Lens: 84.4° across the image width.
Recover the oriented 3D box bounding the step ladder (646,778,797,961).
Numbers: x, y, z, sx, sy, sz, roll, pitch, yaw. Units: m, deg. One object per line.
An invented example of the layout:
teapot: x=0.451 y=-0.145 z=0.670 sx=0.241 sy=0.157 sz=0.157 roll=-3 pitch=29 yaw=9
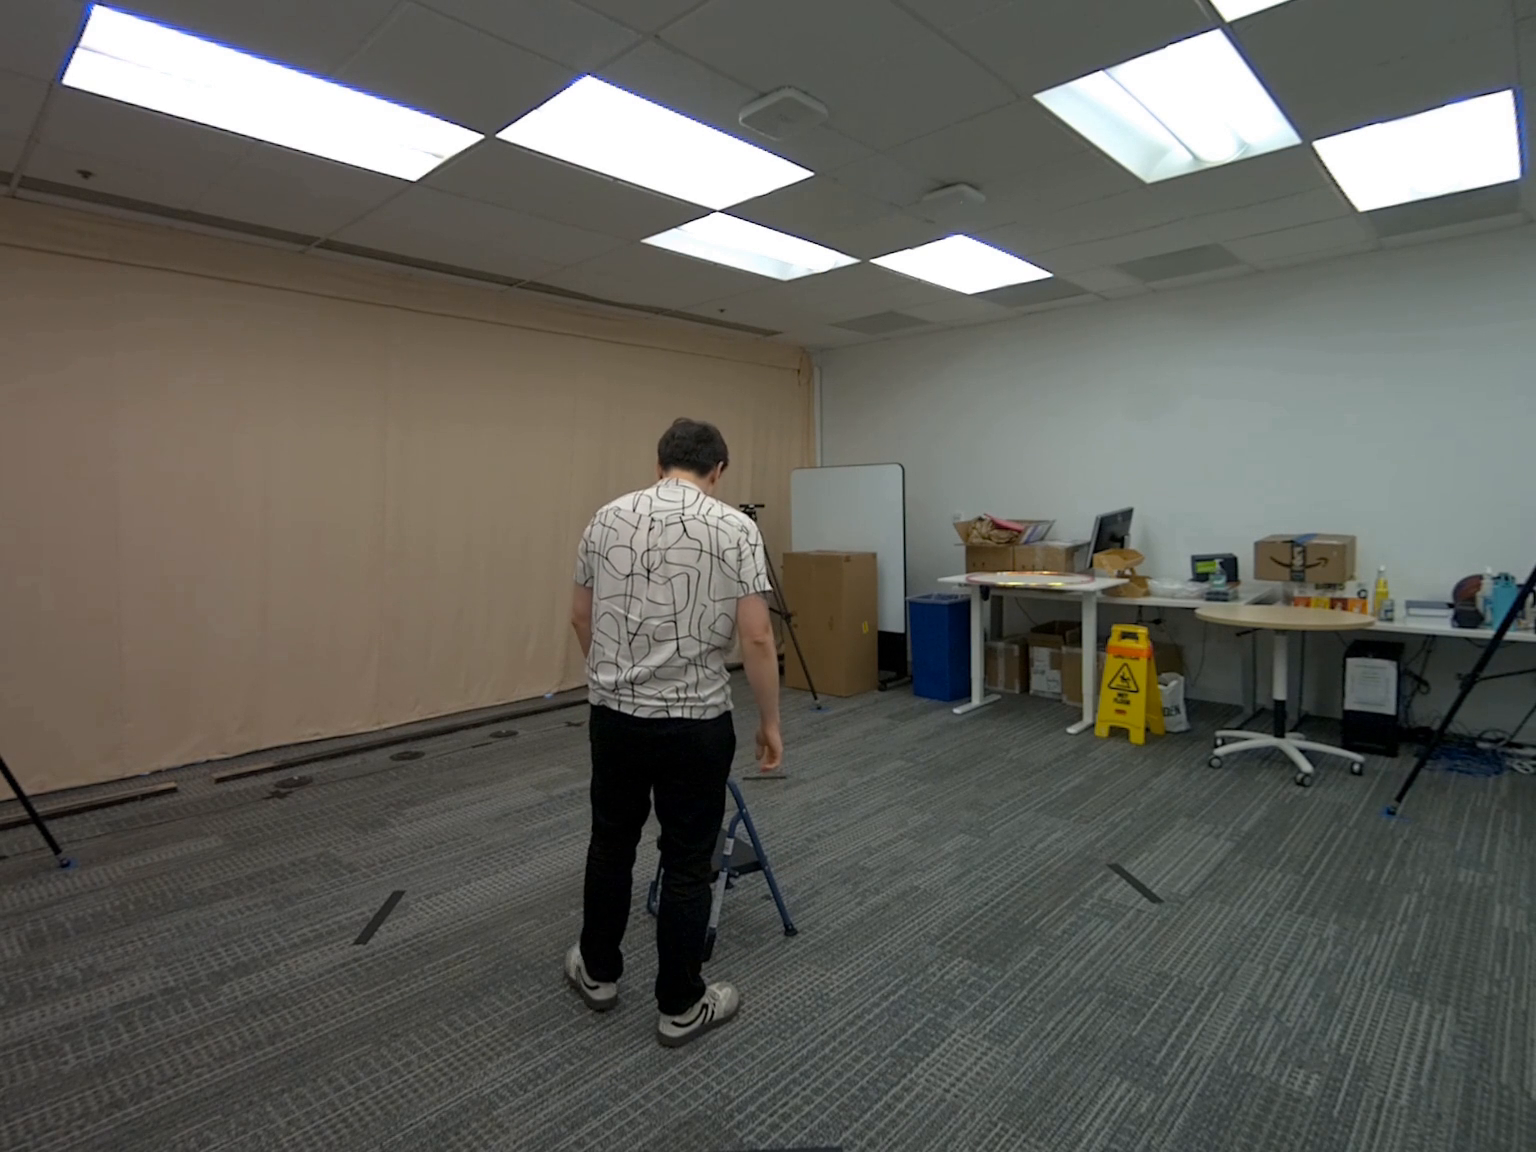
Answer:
step ladder: x=-0.167 y=0.853 z=2.807 sx=0.340 sy=0.604 sz=0.444 roll=-4 pitch=5 yaw=-33
